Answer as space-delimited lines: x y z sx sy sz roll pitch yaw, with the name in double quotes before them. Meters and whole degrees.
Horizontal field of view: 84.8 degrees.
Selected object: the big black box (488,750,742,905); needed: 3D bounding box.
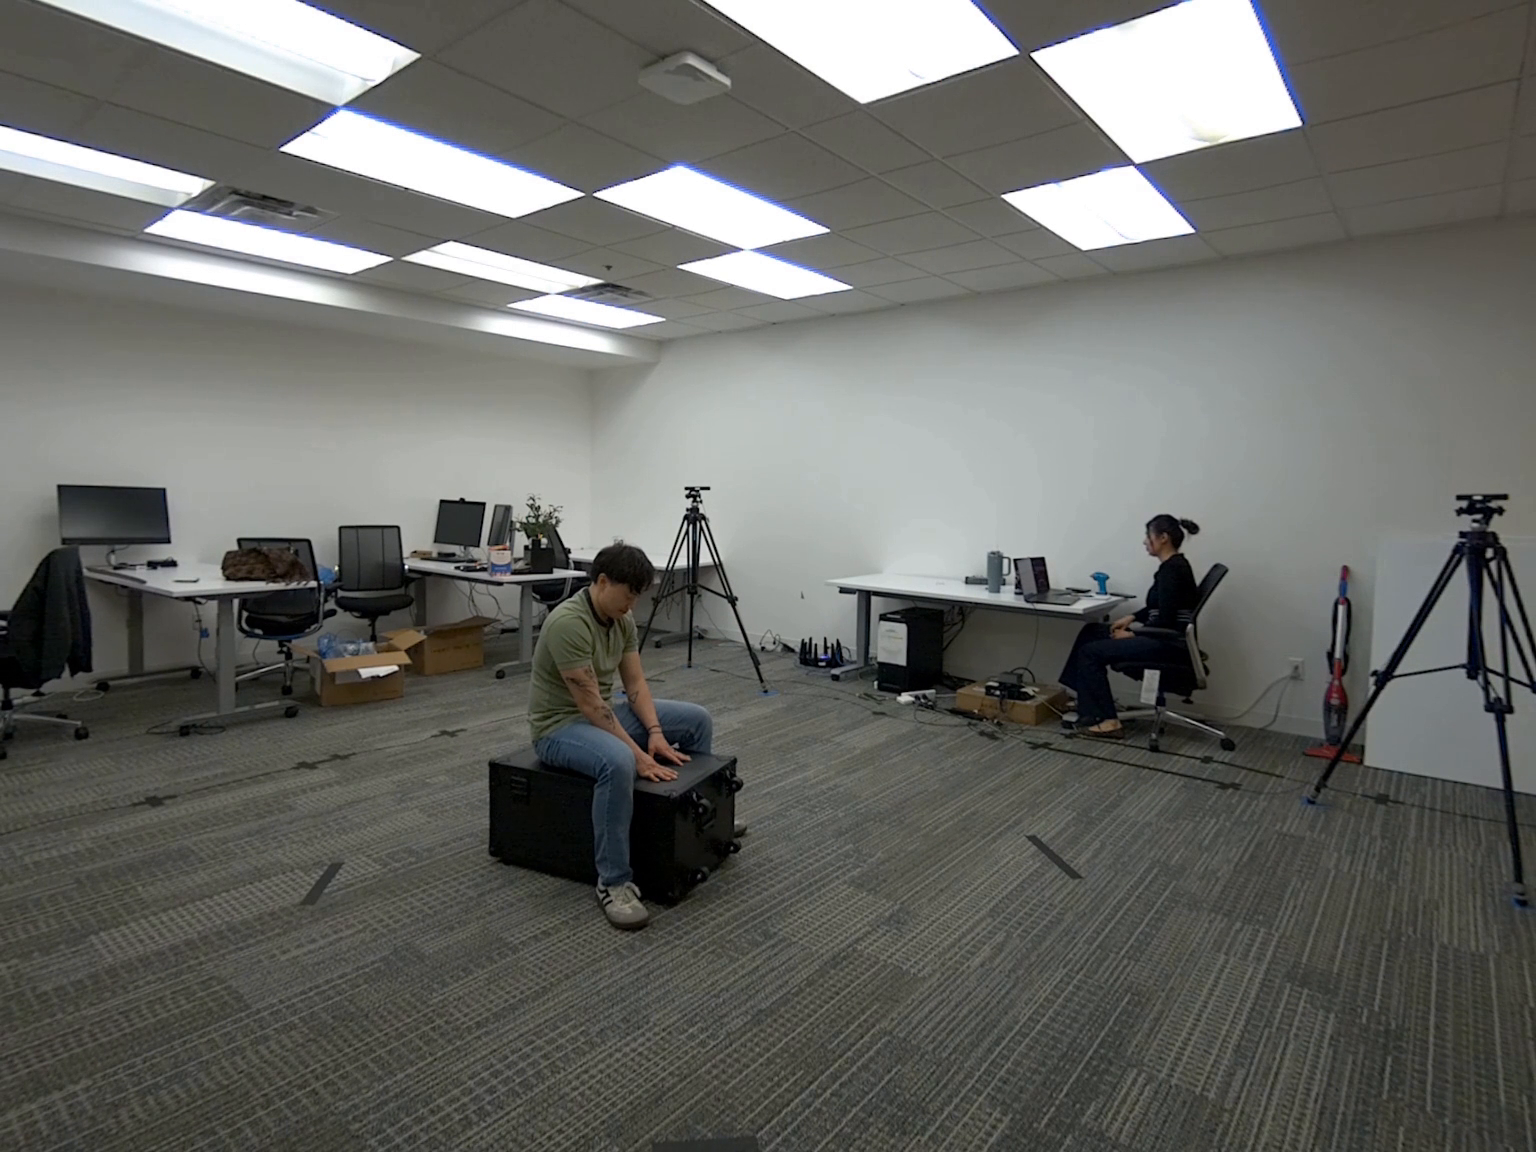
"big black box" -0.559 0.868 3.155 0.883 0.395 0.510 2 4 24
